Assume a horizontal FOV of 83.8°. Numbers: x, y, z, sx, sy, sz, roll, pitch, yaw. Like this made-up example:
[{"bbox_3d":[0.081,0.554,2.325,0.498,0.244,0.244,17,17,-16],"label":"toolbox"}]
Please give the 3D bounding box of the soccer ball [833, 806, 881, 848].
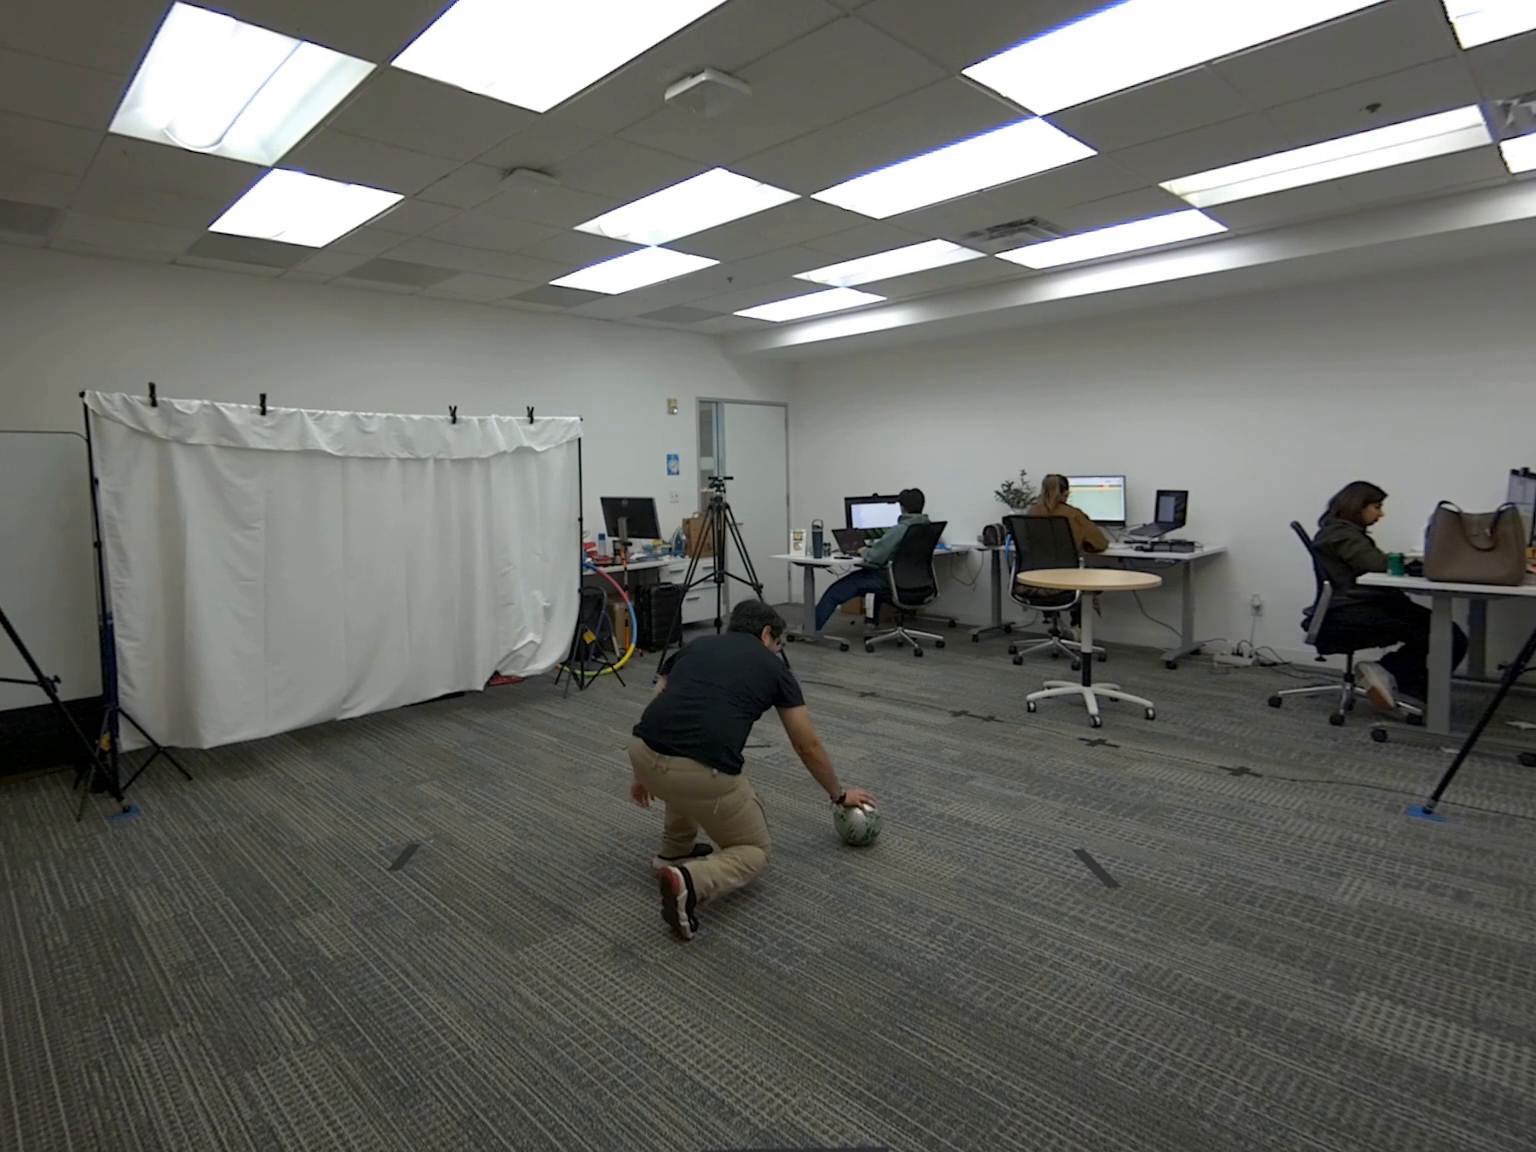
[{"bbox_3d":[0.337,0.917,3.241,0.187,0.187,0.188,-1,5,-2],"label":"soccer ball"}]
